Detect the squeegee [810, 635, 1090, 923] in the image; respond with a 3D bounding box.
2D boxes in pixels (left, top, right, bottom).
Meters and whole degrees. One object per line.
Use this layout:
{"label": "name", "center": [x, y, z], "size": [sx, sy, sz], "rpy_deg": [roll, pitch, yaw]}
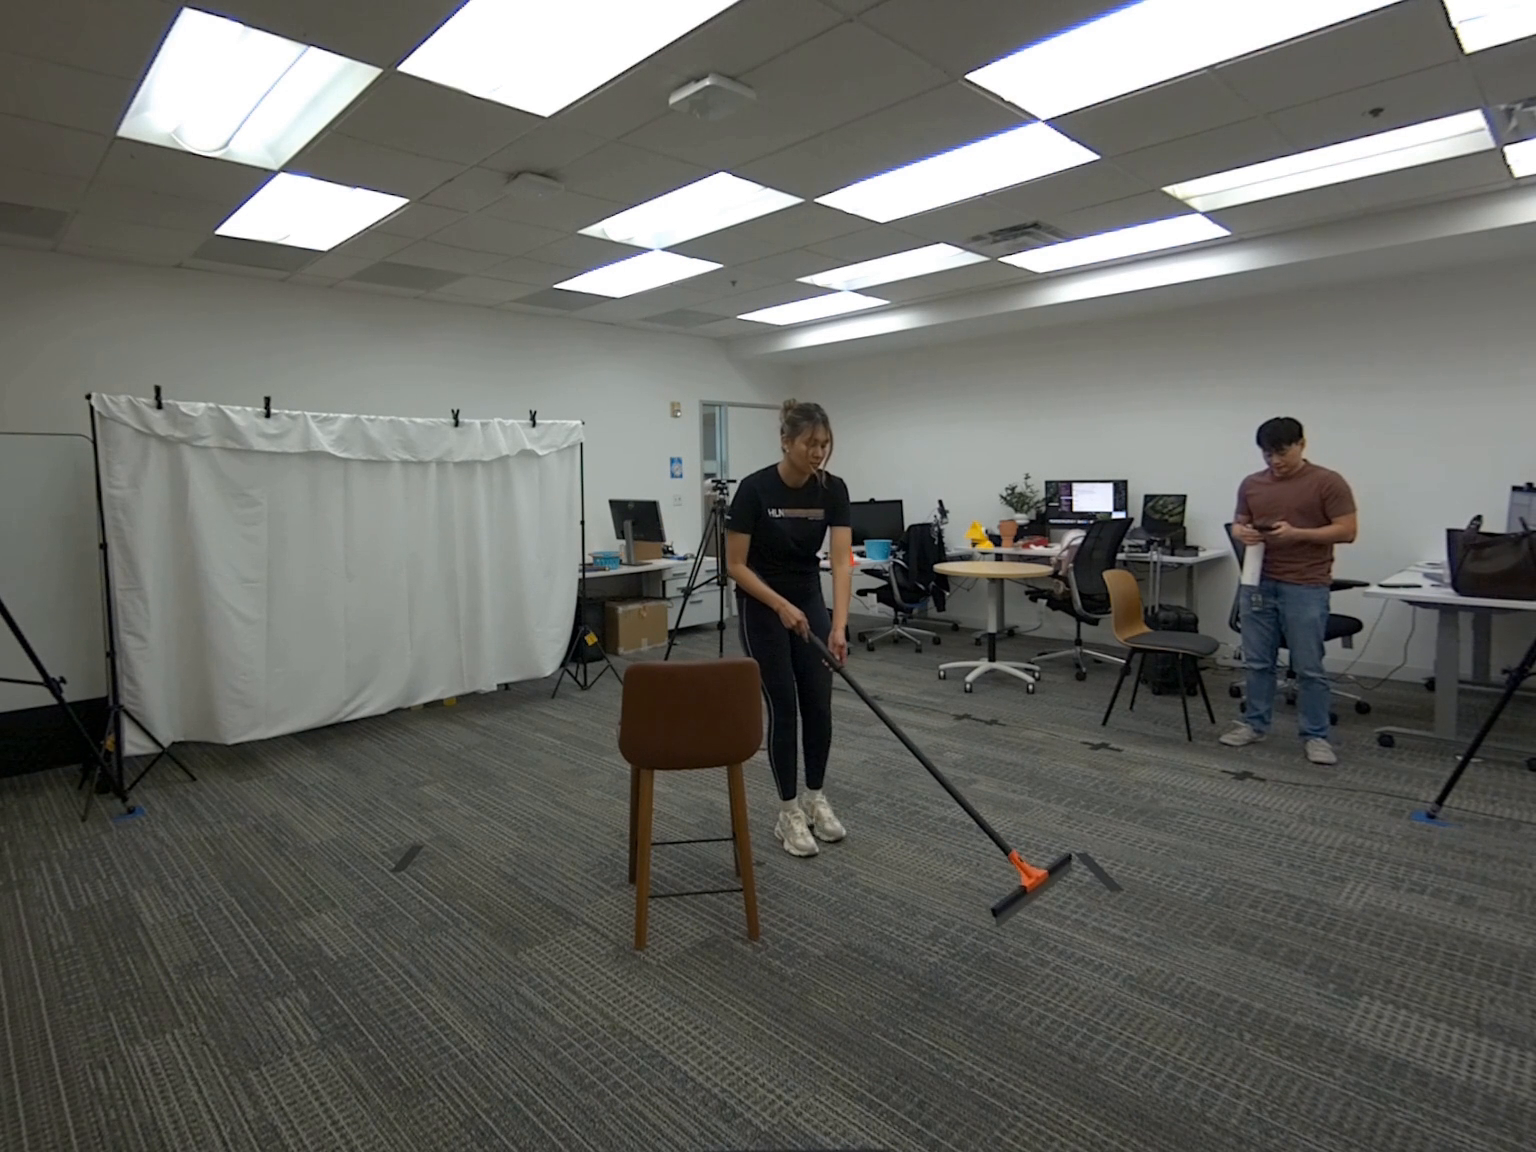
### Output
{"label": "squeegee", "center": [0.318, 0.386, 2.849], "size": [0.427, 0.052, 1.593], "rpy_deg": [-10, 46, -42]}
